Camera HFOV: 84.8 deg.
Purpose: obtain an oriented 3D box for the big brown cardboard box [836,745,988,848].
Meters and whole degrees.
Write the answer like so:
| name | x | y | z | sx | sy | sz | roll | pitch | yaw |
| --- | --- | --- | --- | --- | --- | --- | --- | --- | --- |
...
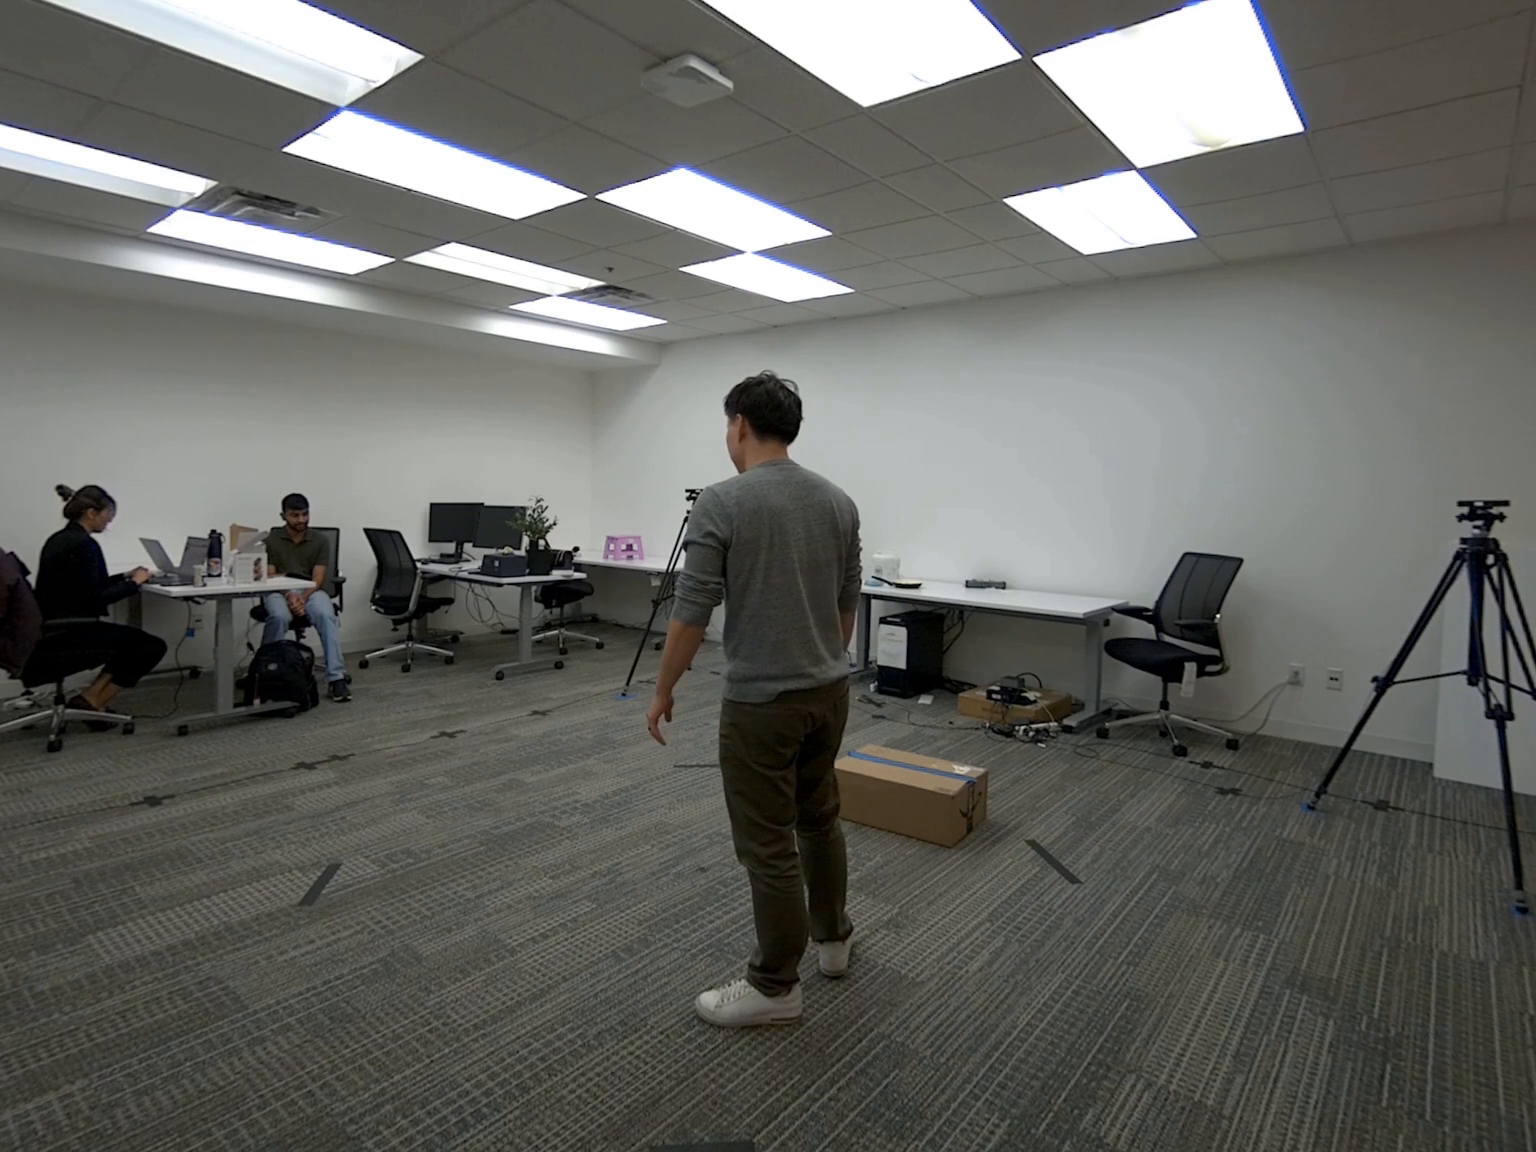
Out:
| name | x | y | z | sx | sy | sz | roll | pitch | yaw |
| --- | --- | --- | --- | --- | --- | --- | --- | --- | --- |
| big brown cardboard box | 0.596 | 0.925 | 3.670 | 0.607 | 0.232 | 0.406 | 4 | 6 | 33 |
